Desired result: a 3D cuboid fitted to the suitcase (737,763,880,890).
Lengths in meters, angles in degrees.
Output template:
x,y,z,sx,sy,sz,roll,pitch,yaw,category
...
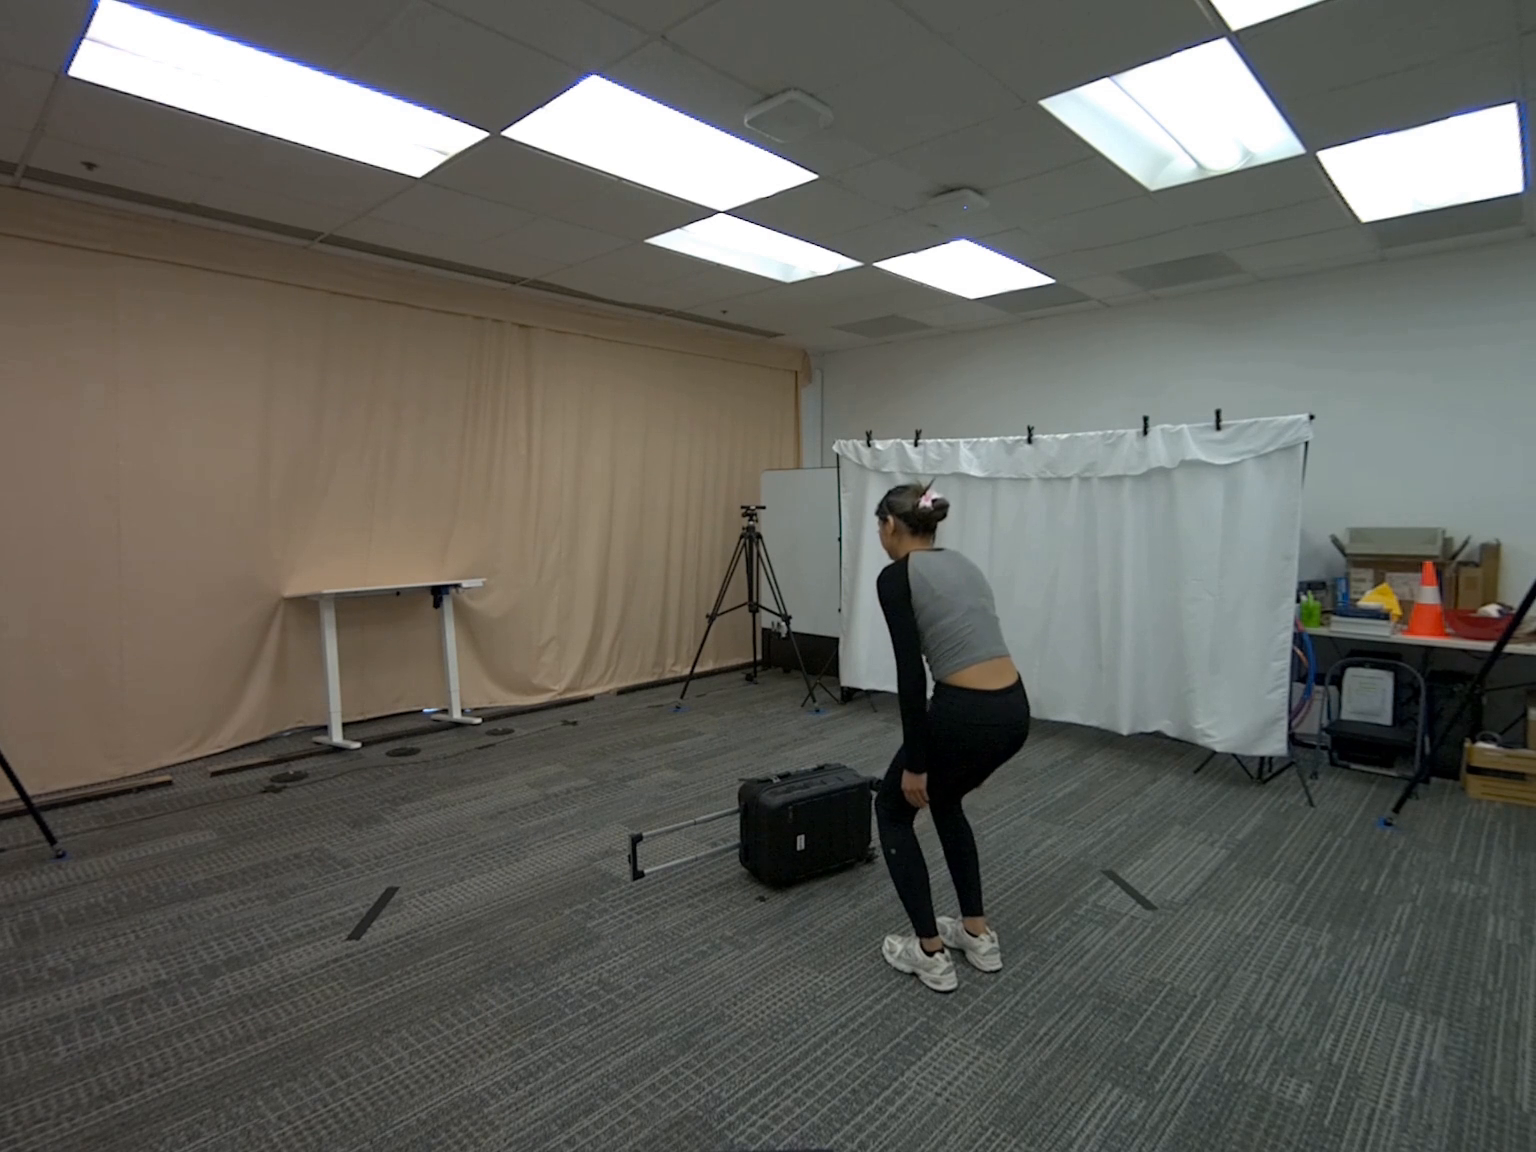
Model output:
x,y,z,sx,sy,sz,roll,pitch,yaw,category
-0.012,0.944,3.089,0.950,0.383,0.265,-3,4,-35,suitcase
